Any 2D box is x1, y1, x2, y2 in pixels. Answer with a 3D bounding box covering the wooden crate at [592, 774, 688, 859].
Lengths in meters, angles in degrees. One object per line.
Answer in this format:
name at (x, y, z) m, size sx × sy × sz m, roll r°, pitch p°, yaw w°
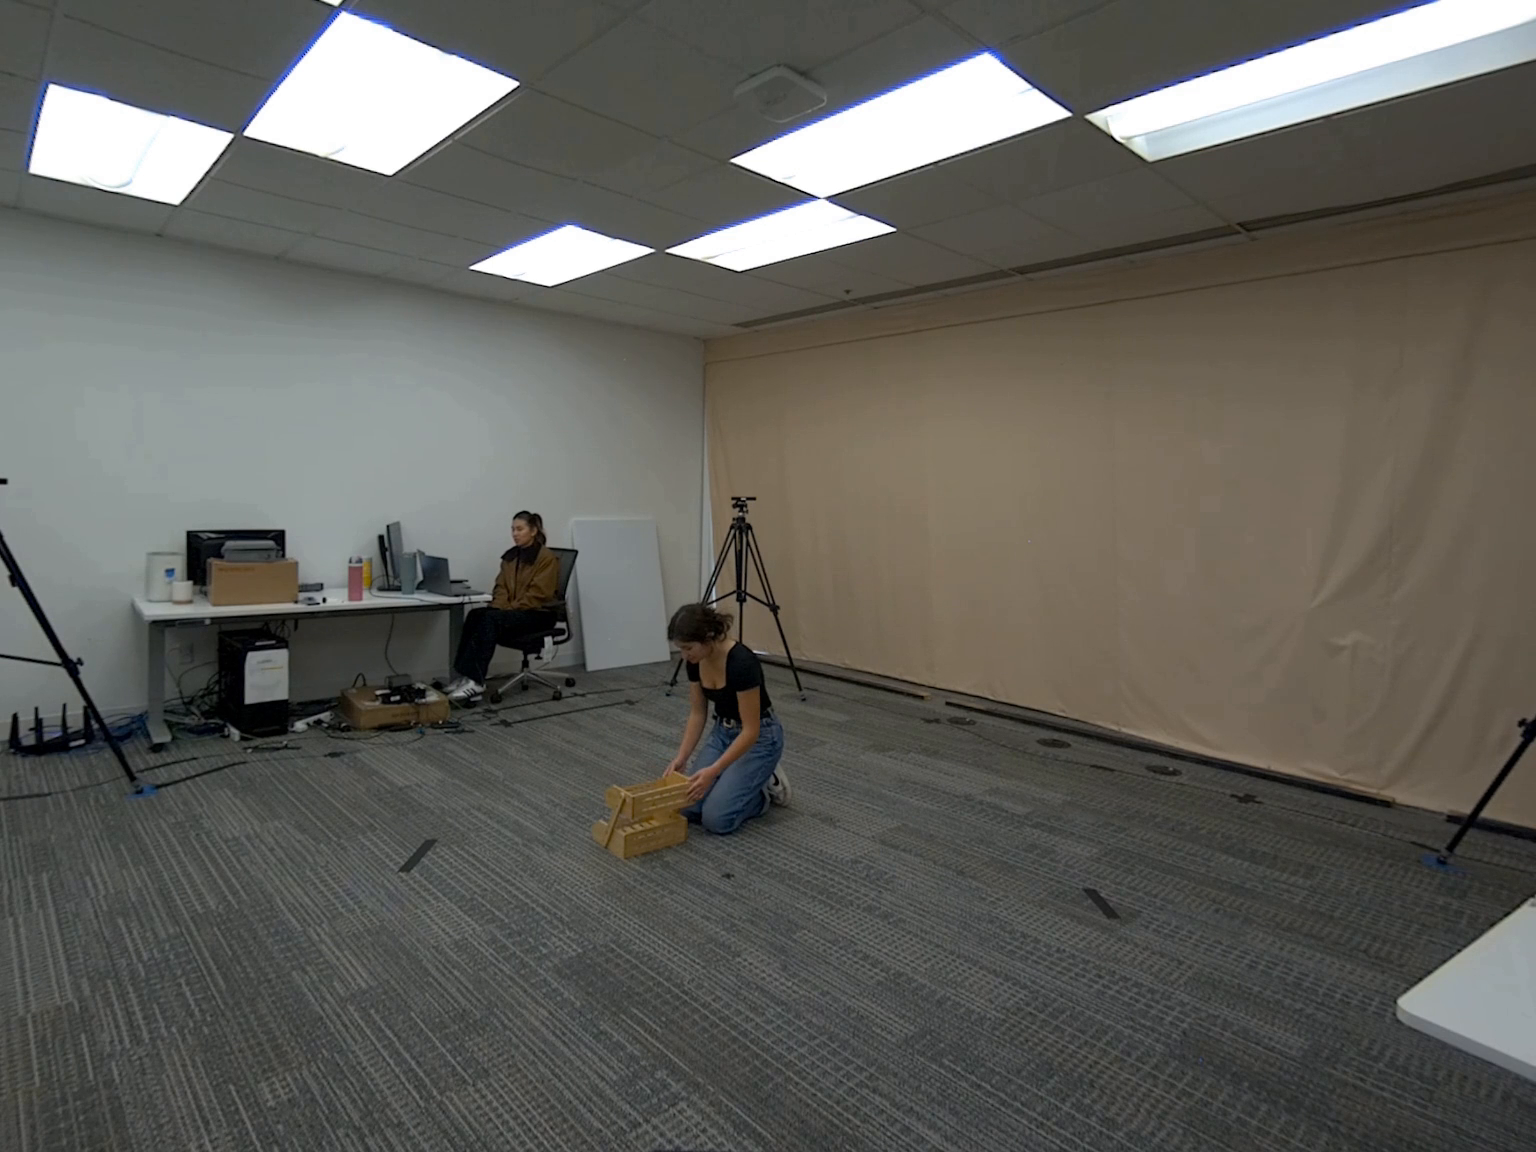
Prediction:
wooden crate at (-0.514, 0.940, 3.389) m, size 0.317 × 0.272 × 0.310 m, roll -2°, pitch 6°, yaw -41°
